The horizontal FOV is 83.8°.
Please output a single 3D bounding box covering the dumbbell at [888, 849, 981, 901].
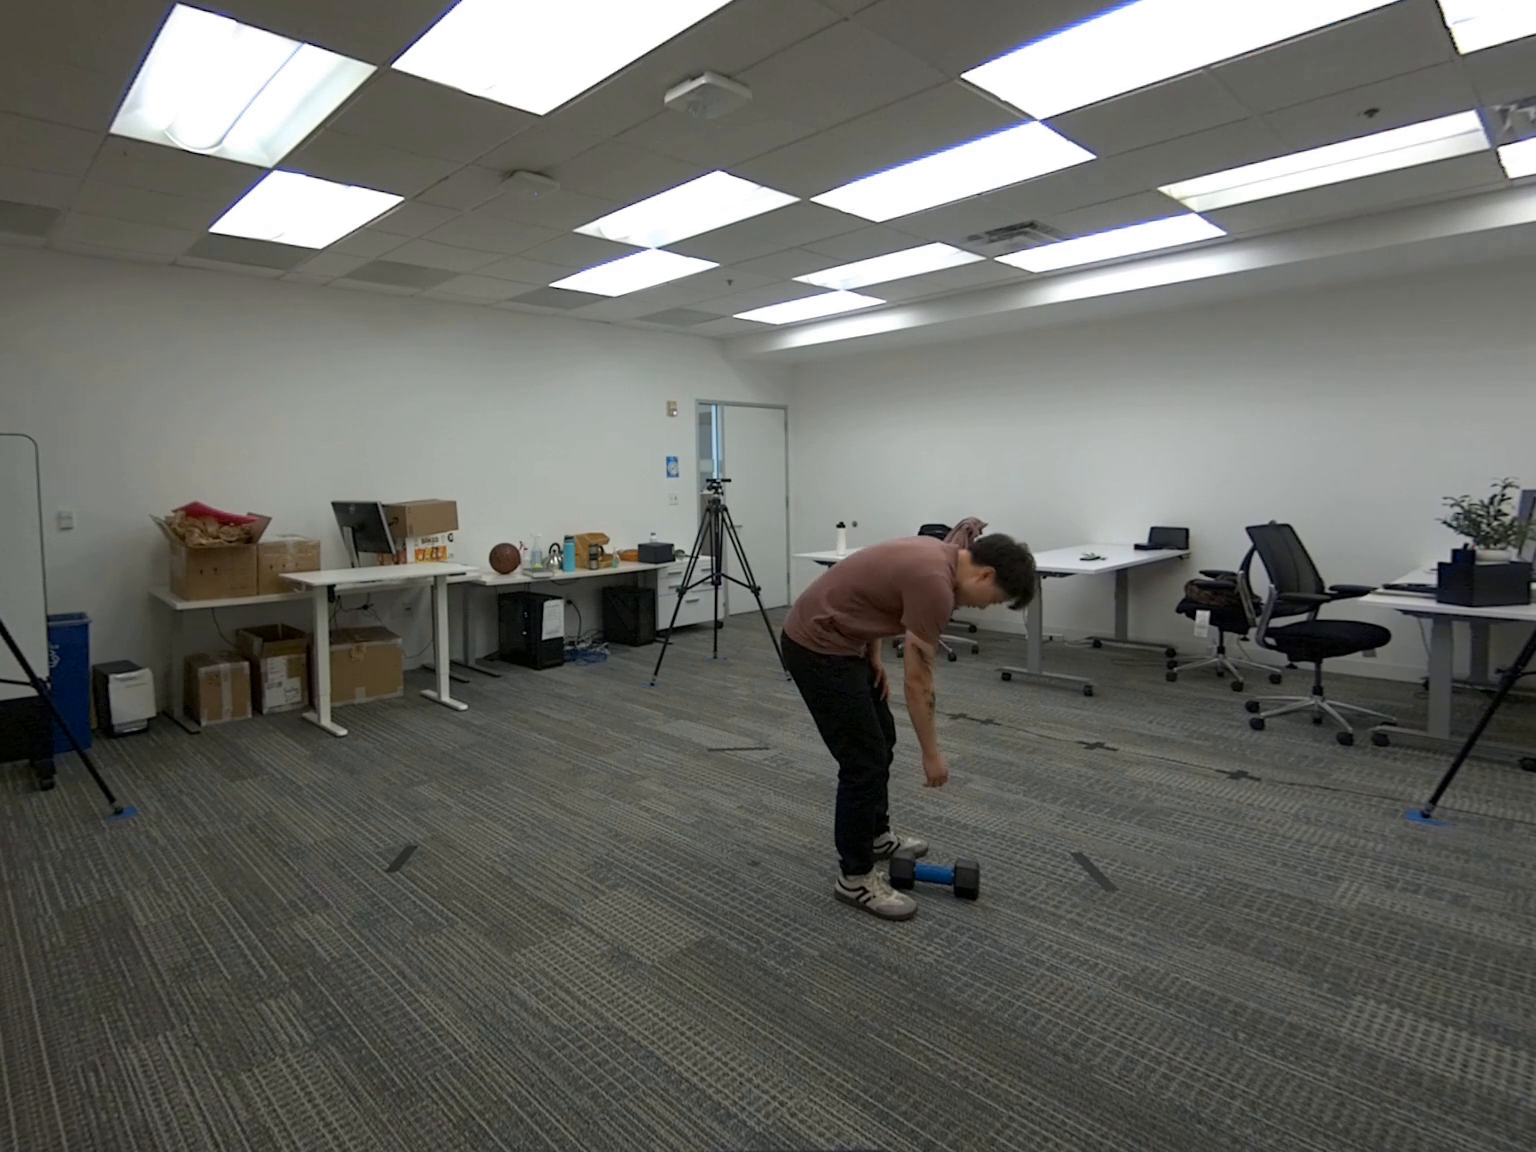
[{"bbox_3d":[0.565,1.008,2.879,0.299,0.119,0.110,0,35,19],"label":"dumbbell"}]
